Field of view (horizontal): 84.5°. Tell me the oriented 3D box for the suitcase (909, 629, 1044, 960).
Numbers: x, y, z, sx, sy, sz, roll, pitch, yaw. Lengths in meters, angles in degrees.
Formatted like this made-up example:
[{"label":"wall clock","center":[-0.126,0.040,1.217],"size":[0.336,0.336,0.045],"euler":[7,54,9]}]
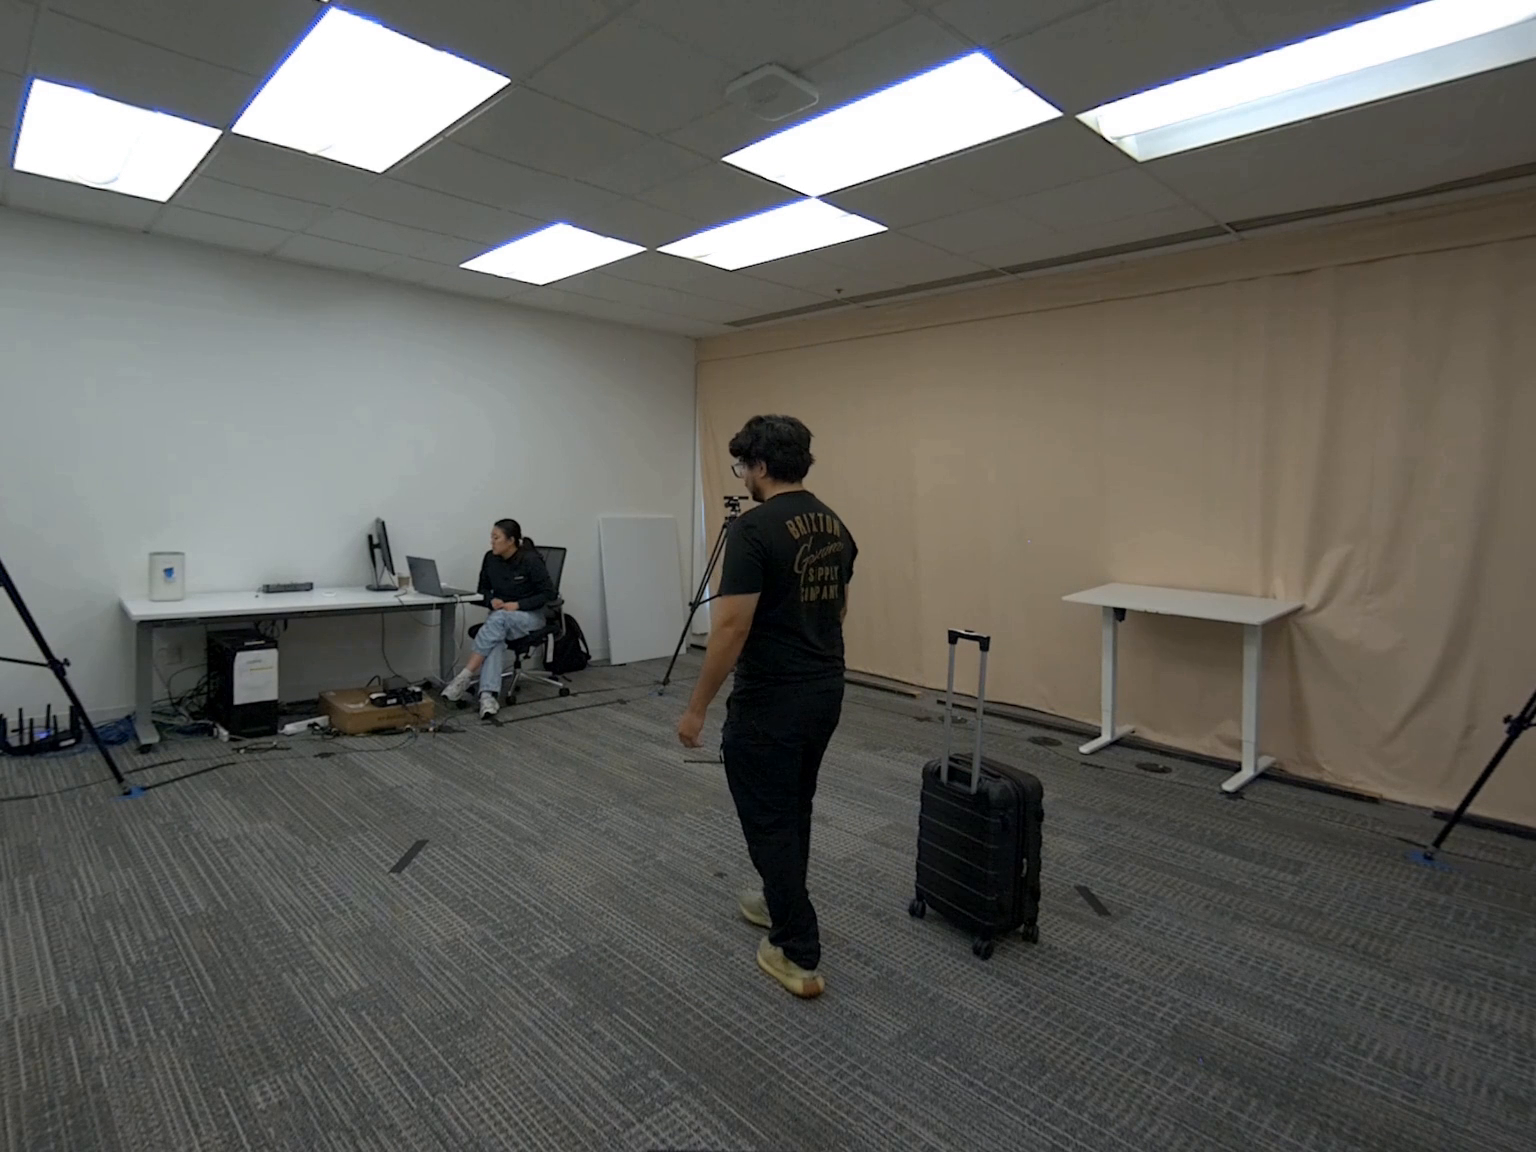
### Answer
[{"label":"suitcase","center":[0.701,0.678,2.758],"size":[0.251,0.977,0.393],"euler":[2,2,-31]}]
